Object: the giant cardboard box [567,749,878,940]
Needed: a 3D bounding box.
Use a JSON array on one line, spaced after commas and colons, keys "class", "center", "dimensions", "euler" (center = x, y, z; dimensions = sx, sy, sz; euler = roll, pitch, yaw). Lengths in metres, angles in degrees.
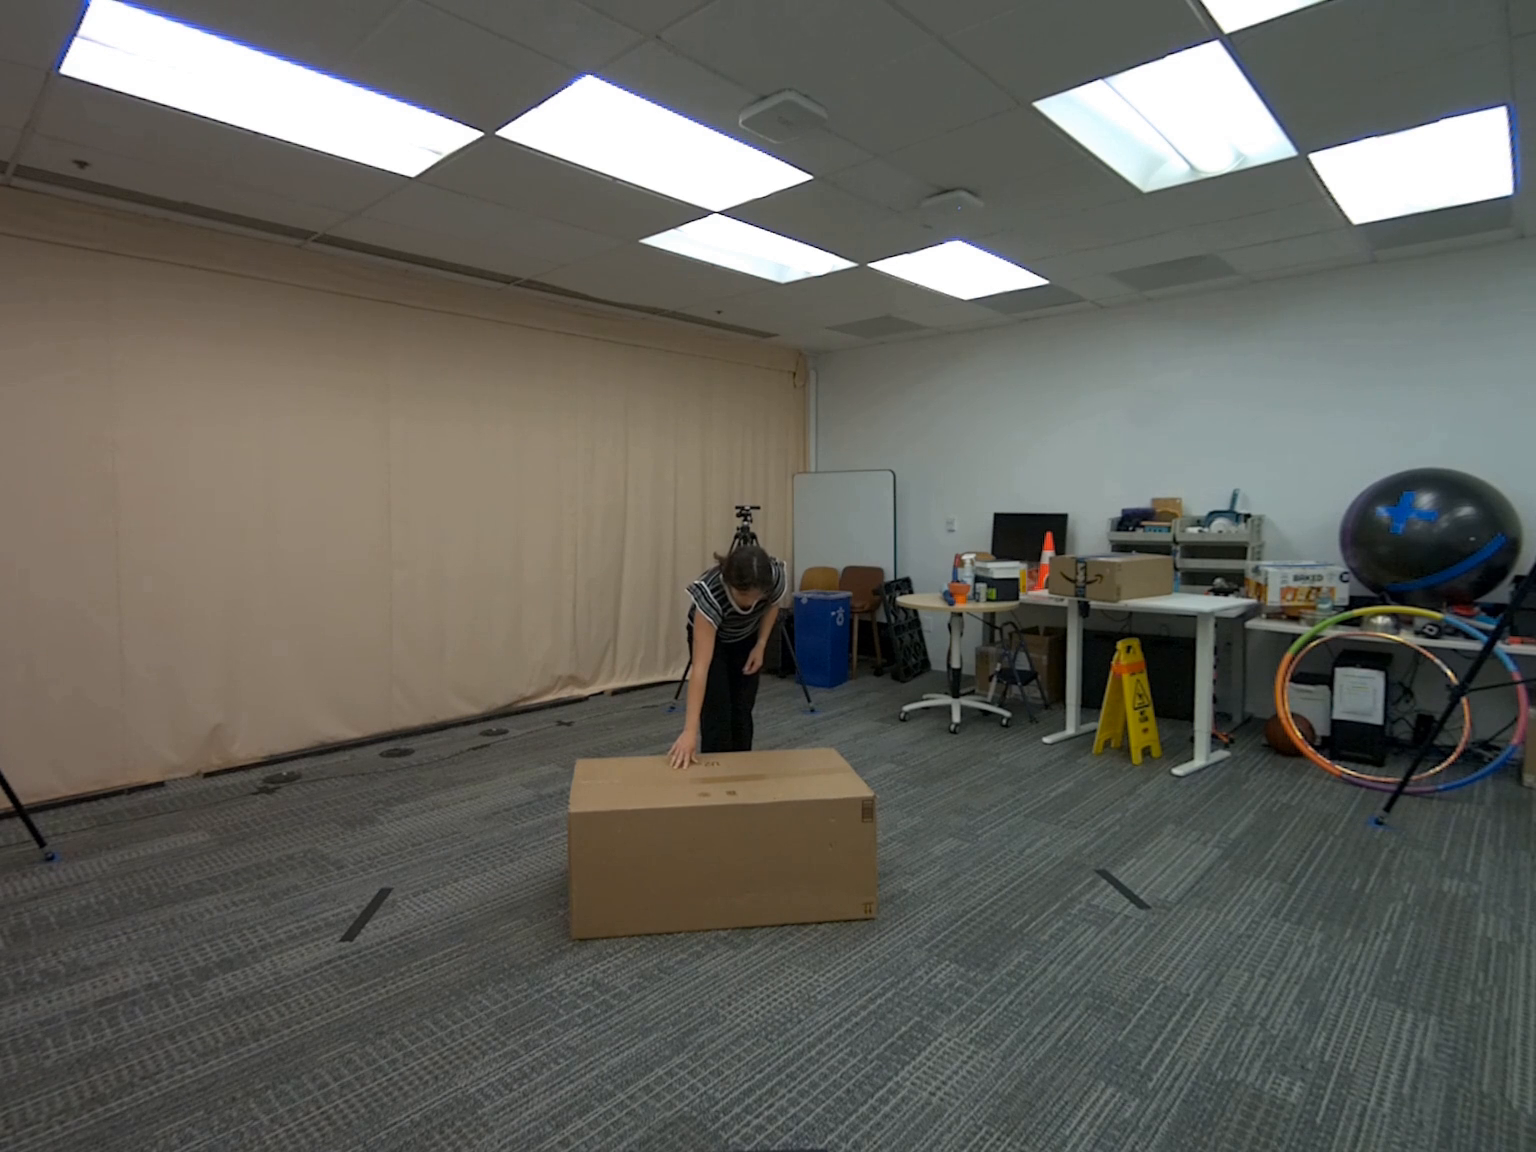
[{"class": "giant cardboard box", "center": [-0.187, 0.930, 3.038], "dimensions": [1.018, 0.425, 0.583], "euler": [-1, 4, -8]}]
